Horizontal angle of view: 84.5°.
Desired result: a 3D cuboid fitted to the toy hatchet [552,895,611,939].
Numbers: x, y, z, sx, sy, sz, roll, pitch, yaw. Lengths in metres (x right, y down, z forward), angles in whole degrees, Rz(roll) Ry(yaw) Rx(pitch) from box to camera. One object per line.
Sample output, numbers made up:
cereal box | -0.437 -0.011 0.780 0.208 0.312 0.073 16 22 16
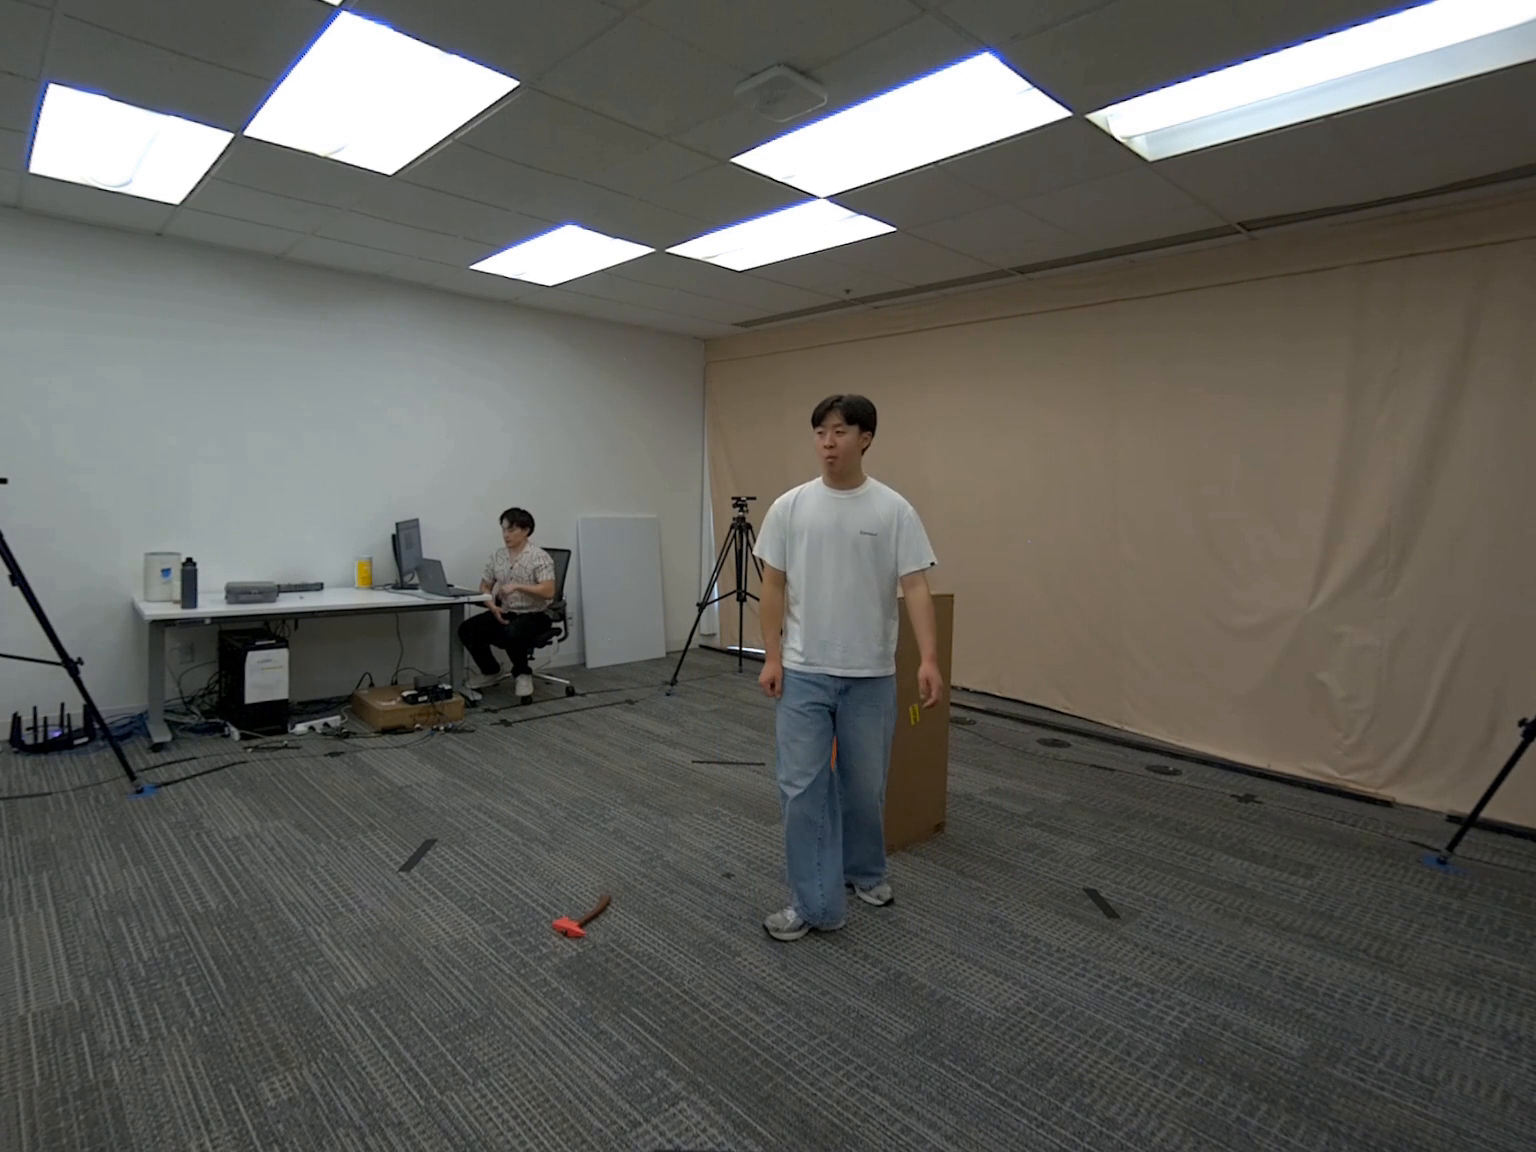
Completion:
toy hatchet | -0.619 1.108 2.777 0.132 0.029 0.268 0 3 8
